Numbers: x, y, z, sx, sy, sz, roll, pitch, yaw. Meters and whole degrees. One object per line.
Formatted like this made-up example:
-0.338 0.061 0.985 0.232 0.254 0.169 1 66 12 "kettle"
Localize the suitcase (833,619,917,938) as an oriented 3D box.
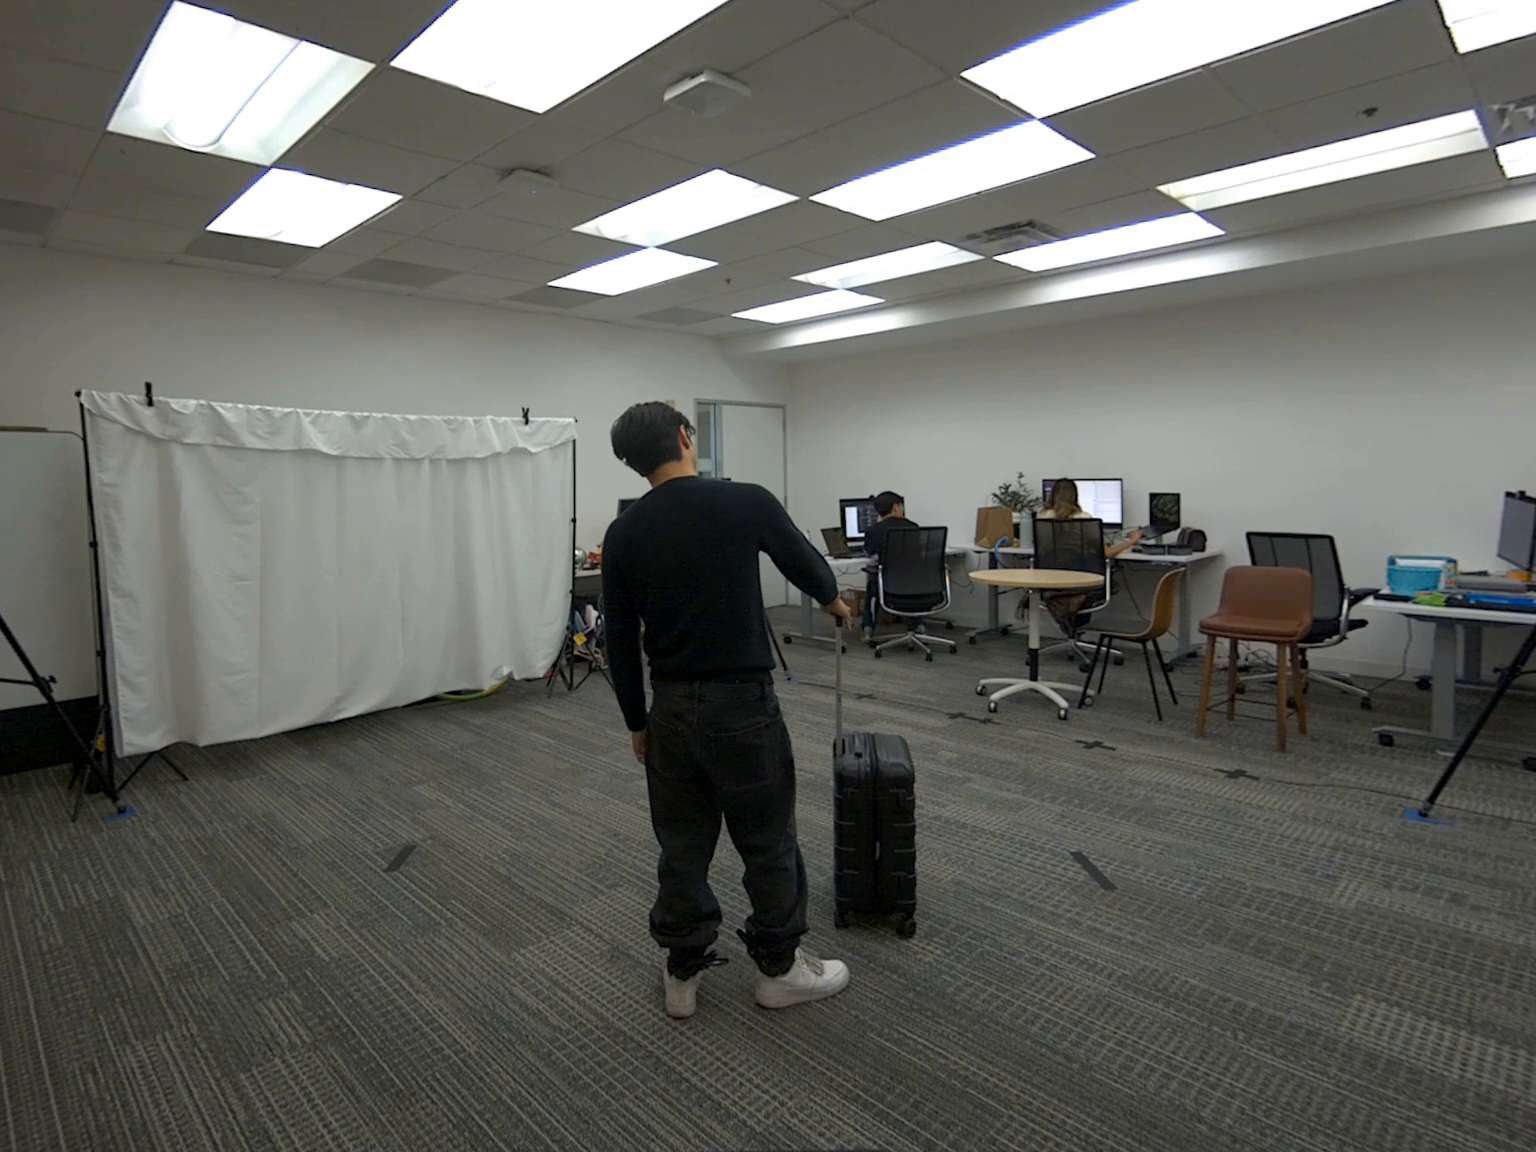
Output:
0.344 0.601 2.736 0.258 0.974 0.384 1 5 4 "suitcase"
